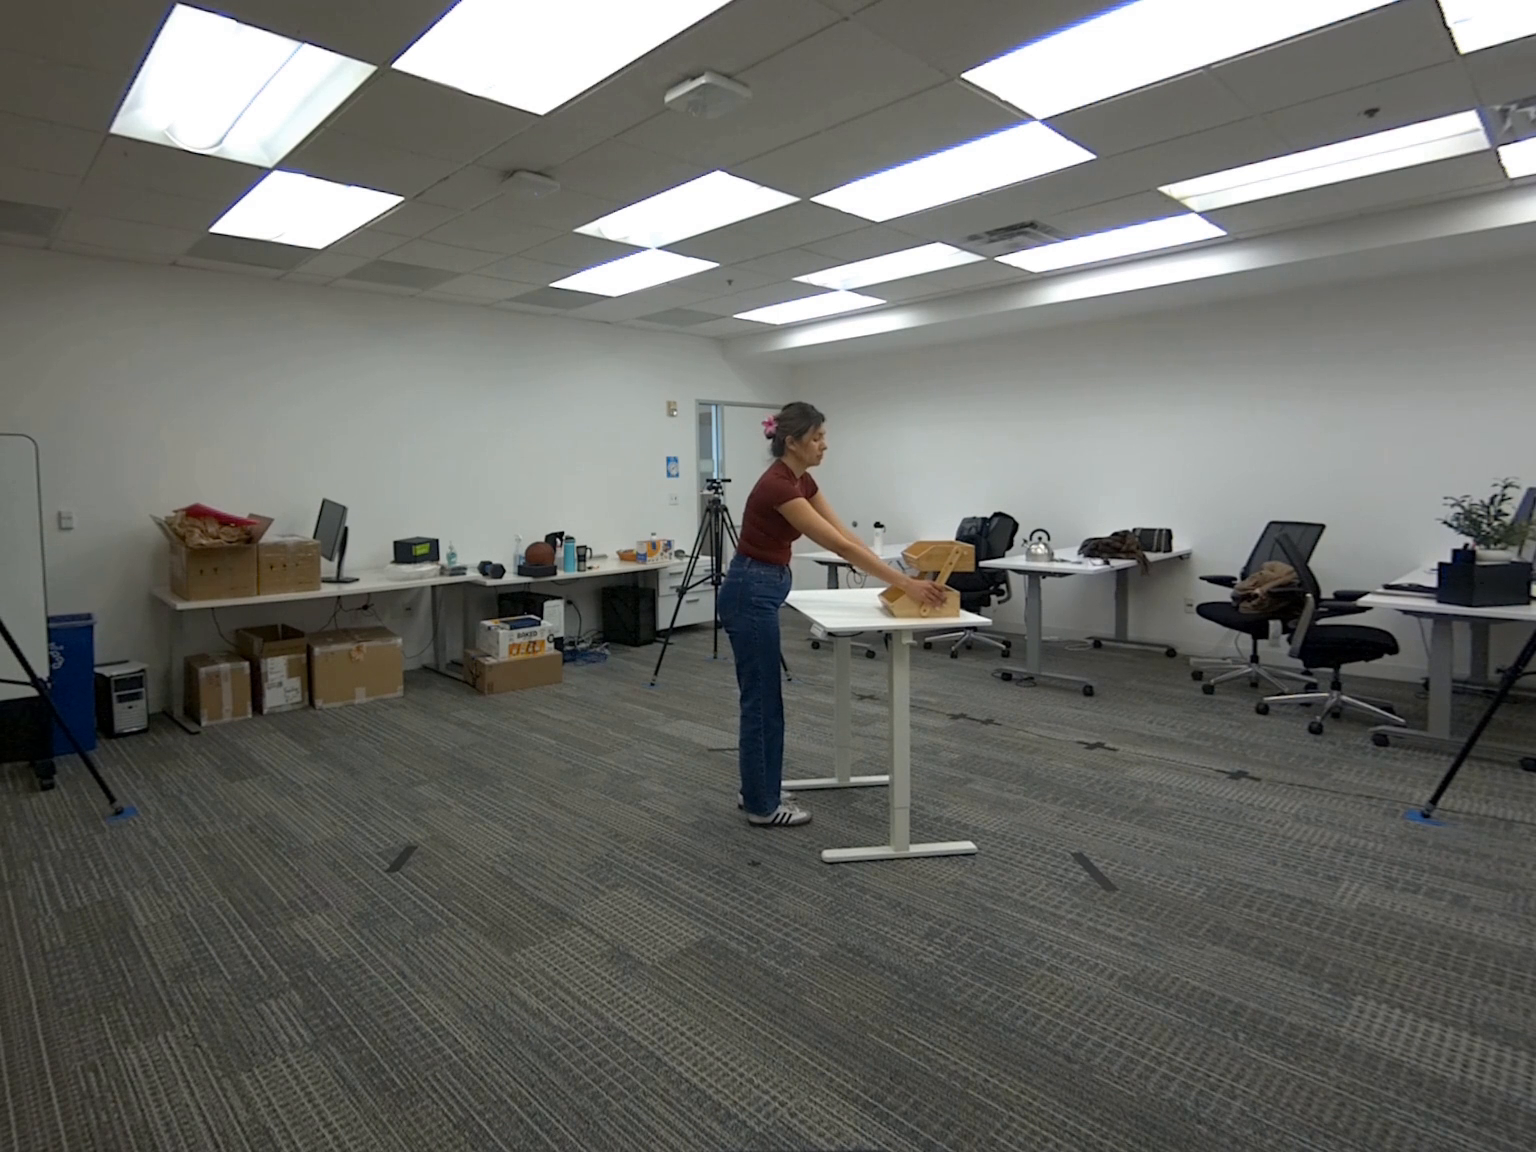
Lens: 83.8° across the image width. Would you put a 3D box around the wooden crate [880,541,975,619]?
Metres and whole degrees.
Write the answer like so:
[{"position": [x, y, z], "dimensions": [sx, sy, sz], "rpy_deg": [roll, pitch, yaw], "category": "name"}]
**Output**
[{"position": [0.585, 0.004, 3.237], "dimensions": [0.302, 0.272, 0.325], "rpy_deg": [0, 4, 0], "category": "wooden crate"}]
